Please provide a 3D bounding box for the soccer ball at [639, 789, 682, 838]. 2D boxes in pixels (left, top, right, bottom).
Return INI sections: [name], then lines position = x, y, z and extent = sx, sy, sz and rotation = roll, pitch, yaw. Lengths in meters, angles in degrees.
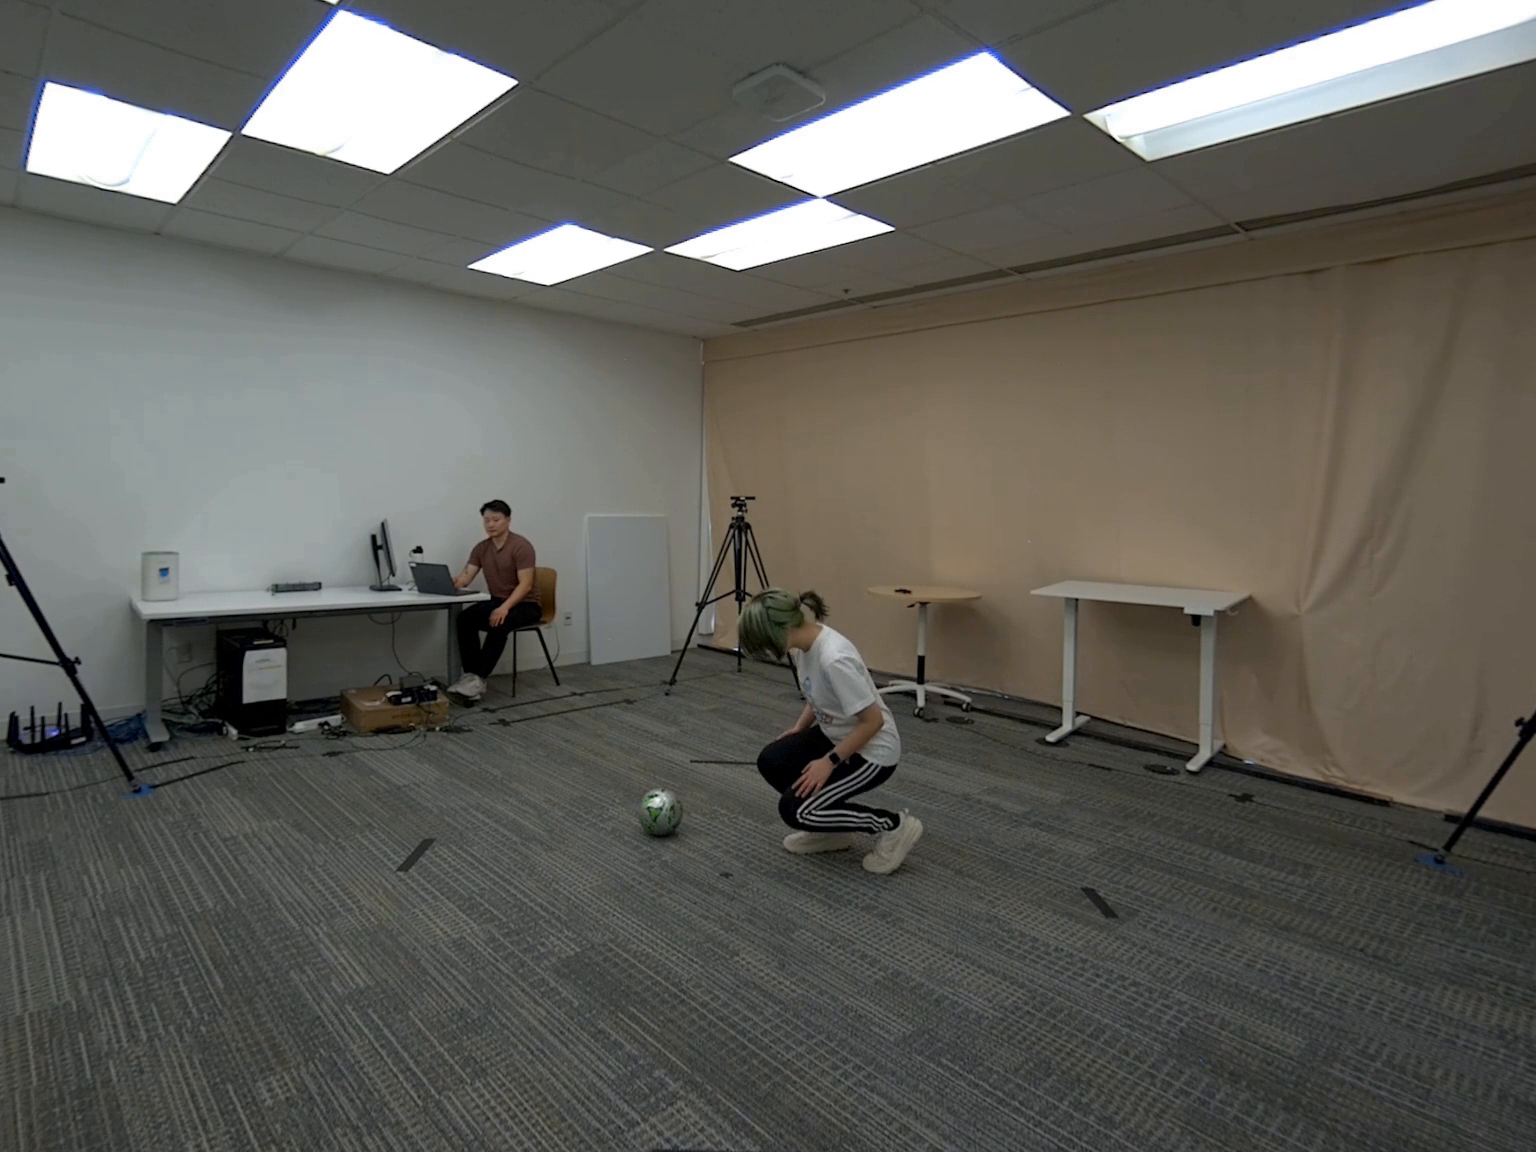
[soccer ball]
position = -0.443, 0.962, 3.466
extent = 0.187, 0.187, 0.188
rotation = 1, 4, -1
